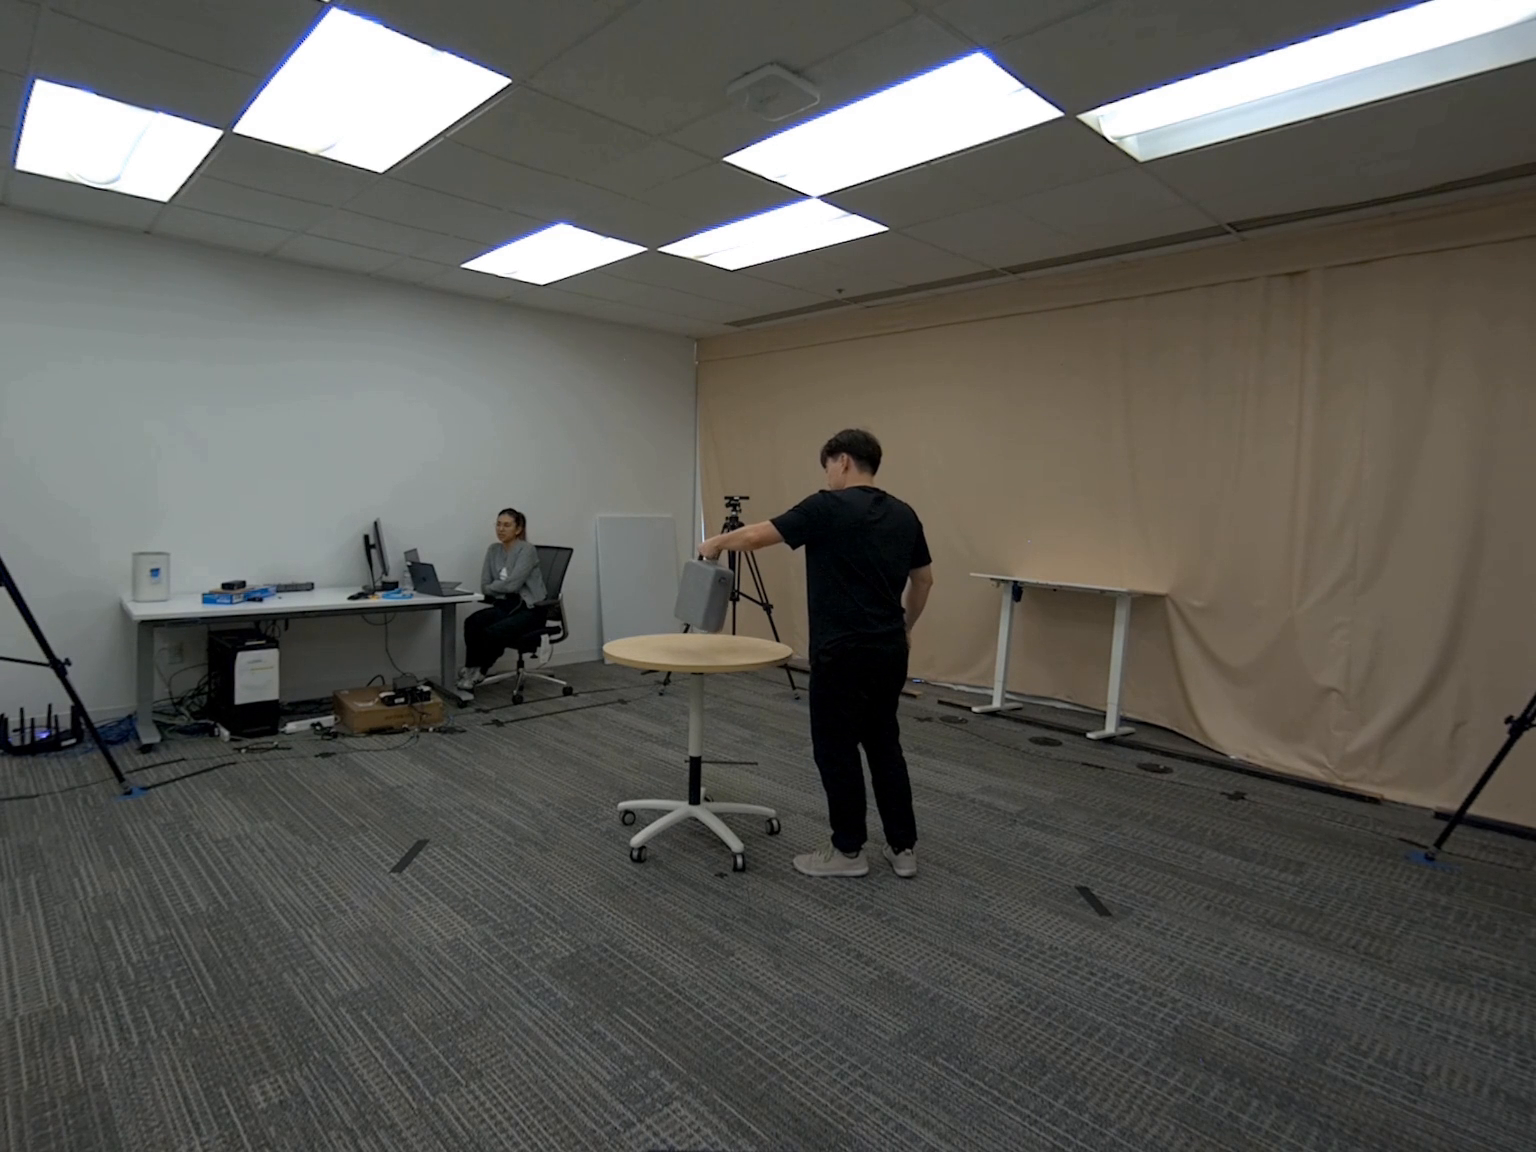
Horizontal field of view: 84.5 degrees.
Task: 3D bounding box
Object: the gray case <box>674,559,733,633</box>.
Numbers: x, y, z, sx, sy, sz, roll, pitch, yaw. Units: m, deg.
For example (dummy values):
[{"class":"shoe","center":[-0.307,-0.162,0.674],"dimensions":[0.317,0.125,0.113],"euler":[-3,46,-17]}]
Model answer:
[{"class":"gray case","center":[-0.248,0.069,3.289],"dimensions":[0.102,0.260,0.263],"euler":[10,3,-33]}]
